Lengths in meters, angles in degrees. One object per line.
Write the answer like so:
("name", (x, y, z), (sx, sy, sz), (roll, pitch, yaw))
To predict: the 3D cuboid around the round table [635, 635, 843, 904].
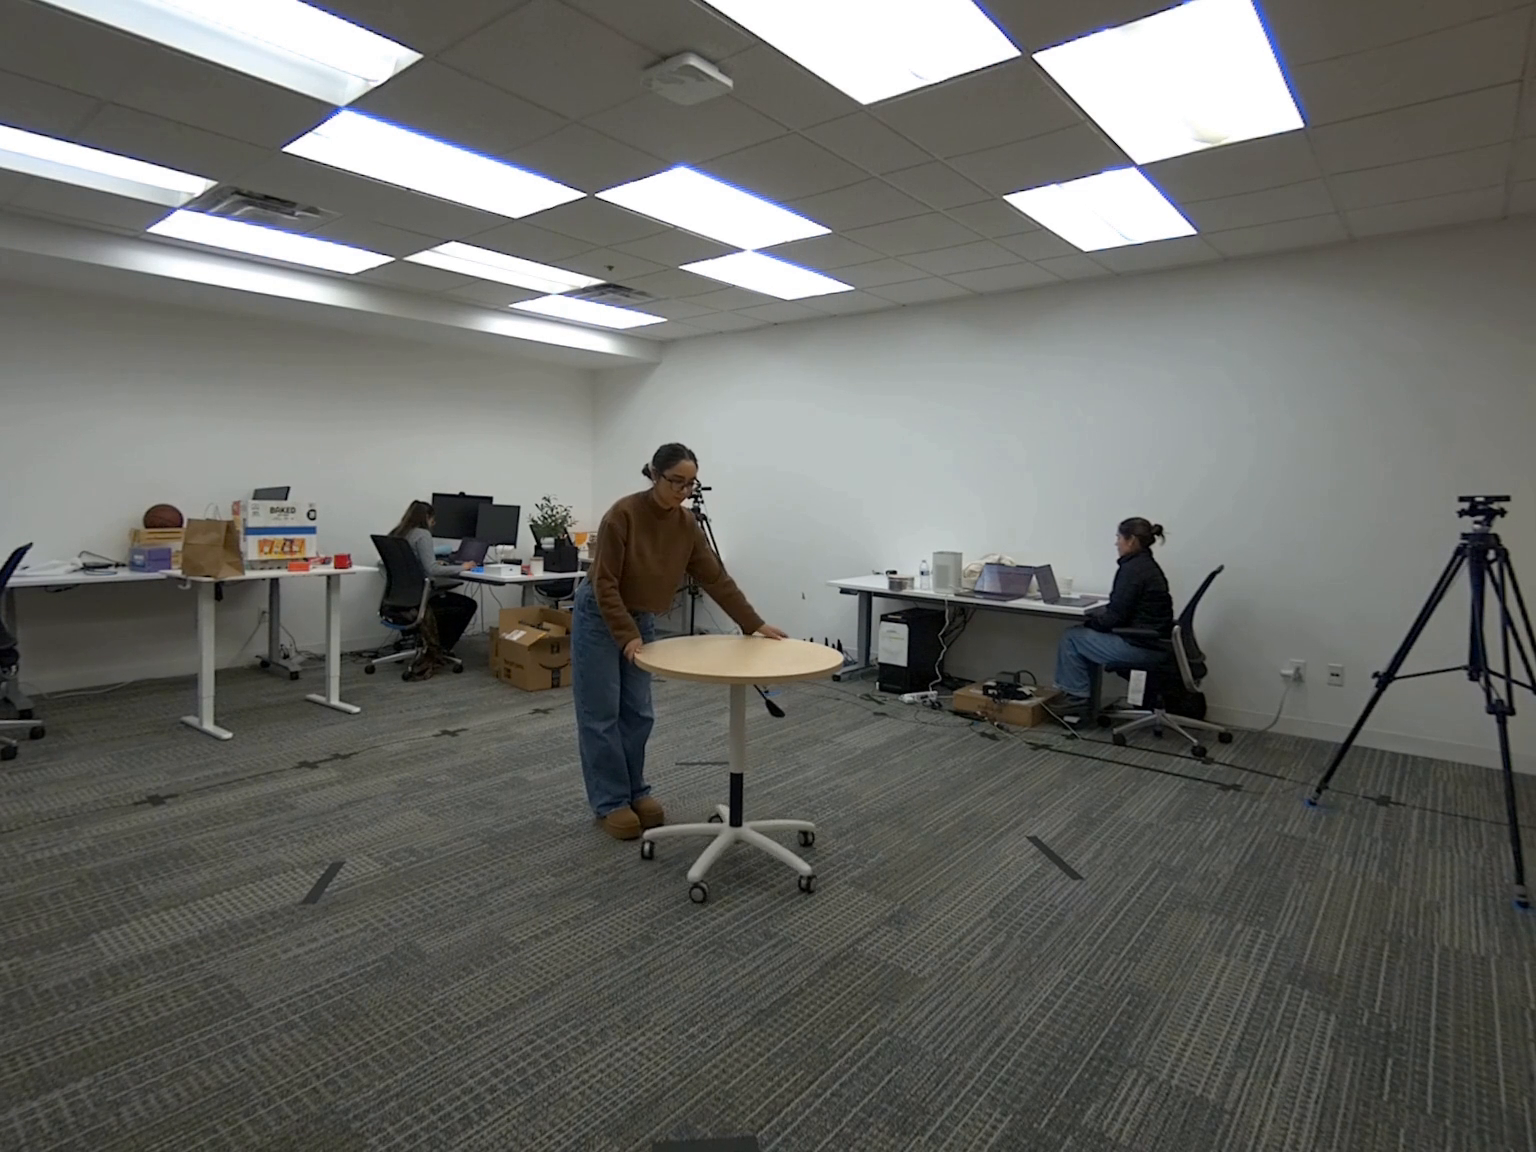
("round table", (-0.126, 0.673, 3.149), (0.763, 0.791, 0.768), (1, 4, -2))
